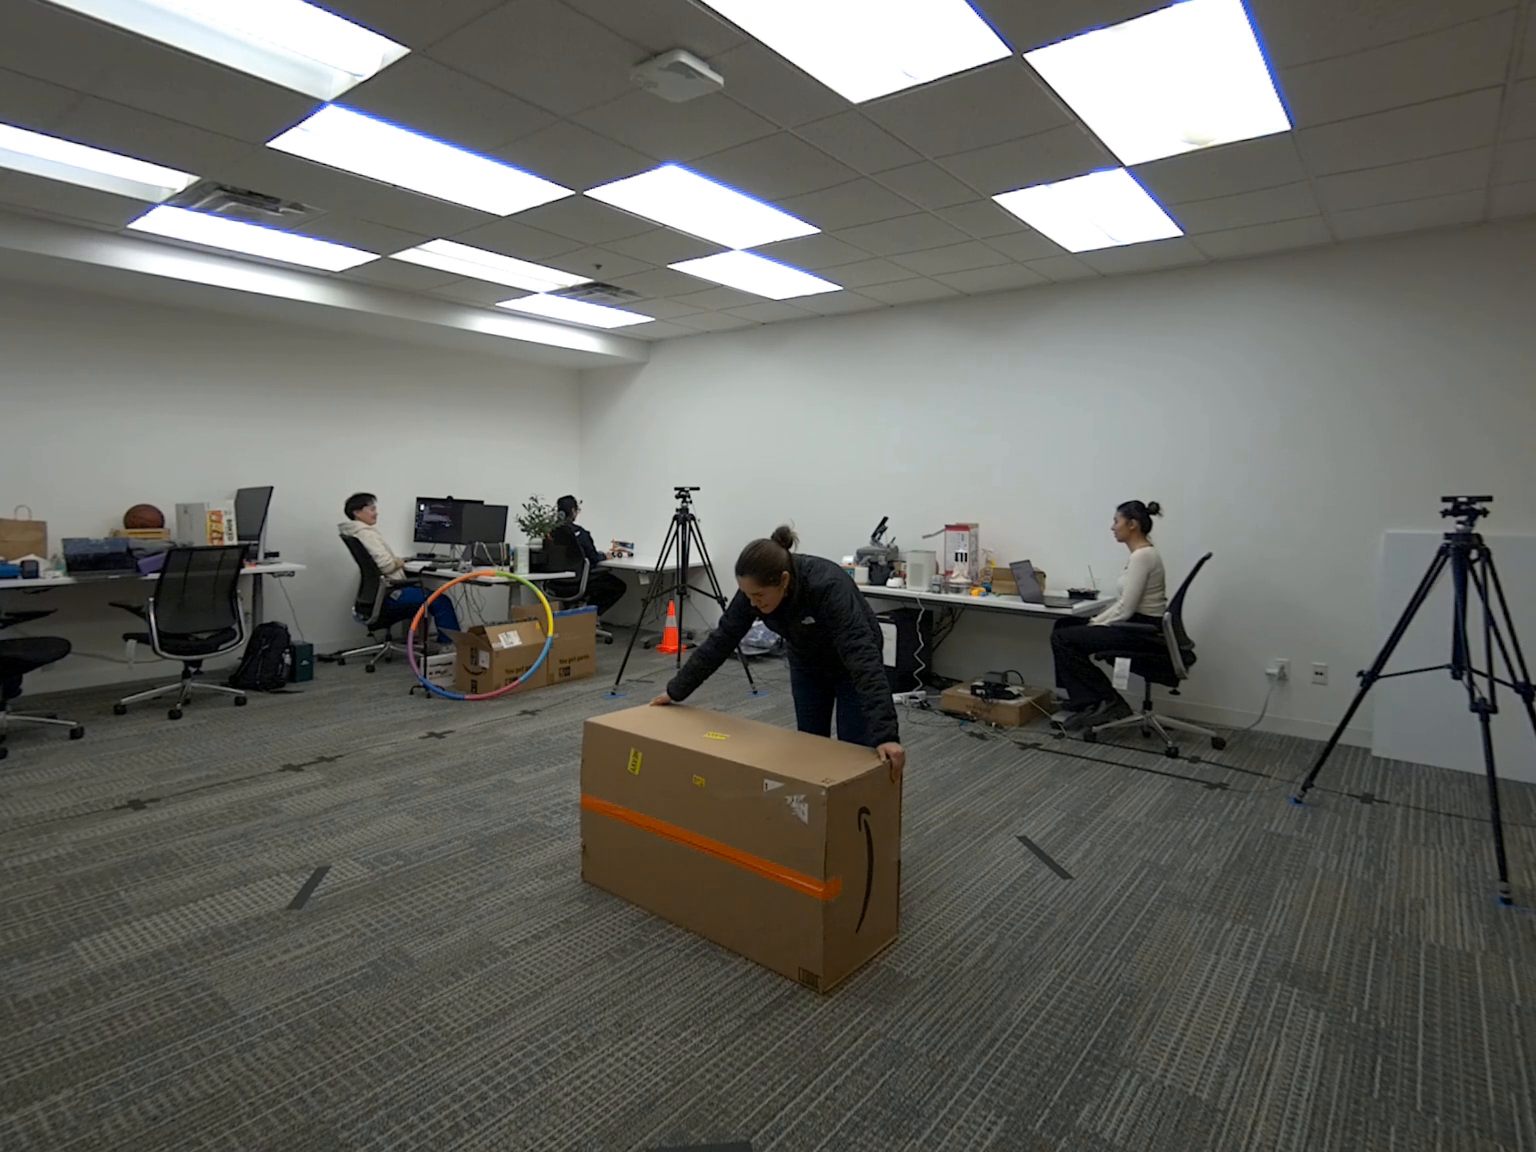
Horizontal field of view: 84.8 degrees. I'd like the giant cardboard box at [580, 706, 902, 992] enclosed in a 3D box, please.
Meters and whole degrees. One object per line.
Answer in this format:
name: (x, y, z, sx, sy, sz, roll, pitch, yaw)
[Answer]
giant cardboard box: (-0.110, 0.810, 2.818, 1.061, 0.582, 0.434, 4, 5, 39)
